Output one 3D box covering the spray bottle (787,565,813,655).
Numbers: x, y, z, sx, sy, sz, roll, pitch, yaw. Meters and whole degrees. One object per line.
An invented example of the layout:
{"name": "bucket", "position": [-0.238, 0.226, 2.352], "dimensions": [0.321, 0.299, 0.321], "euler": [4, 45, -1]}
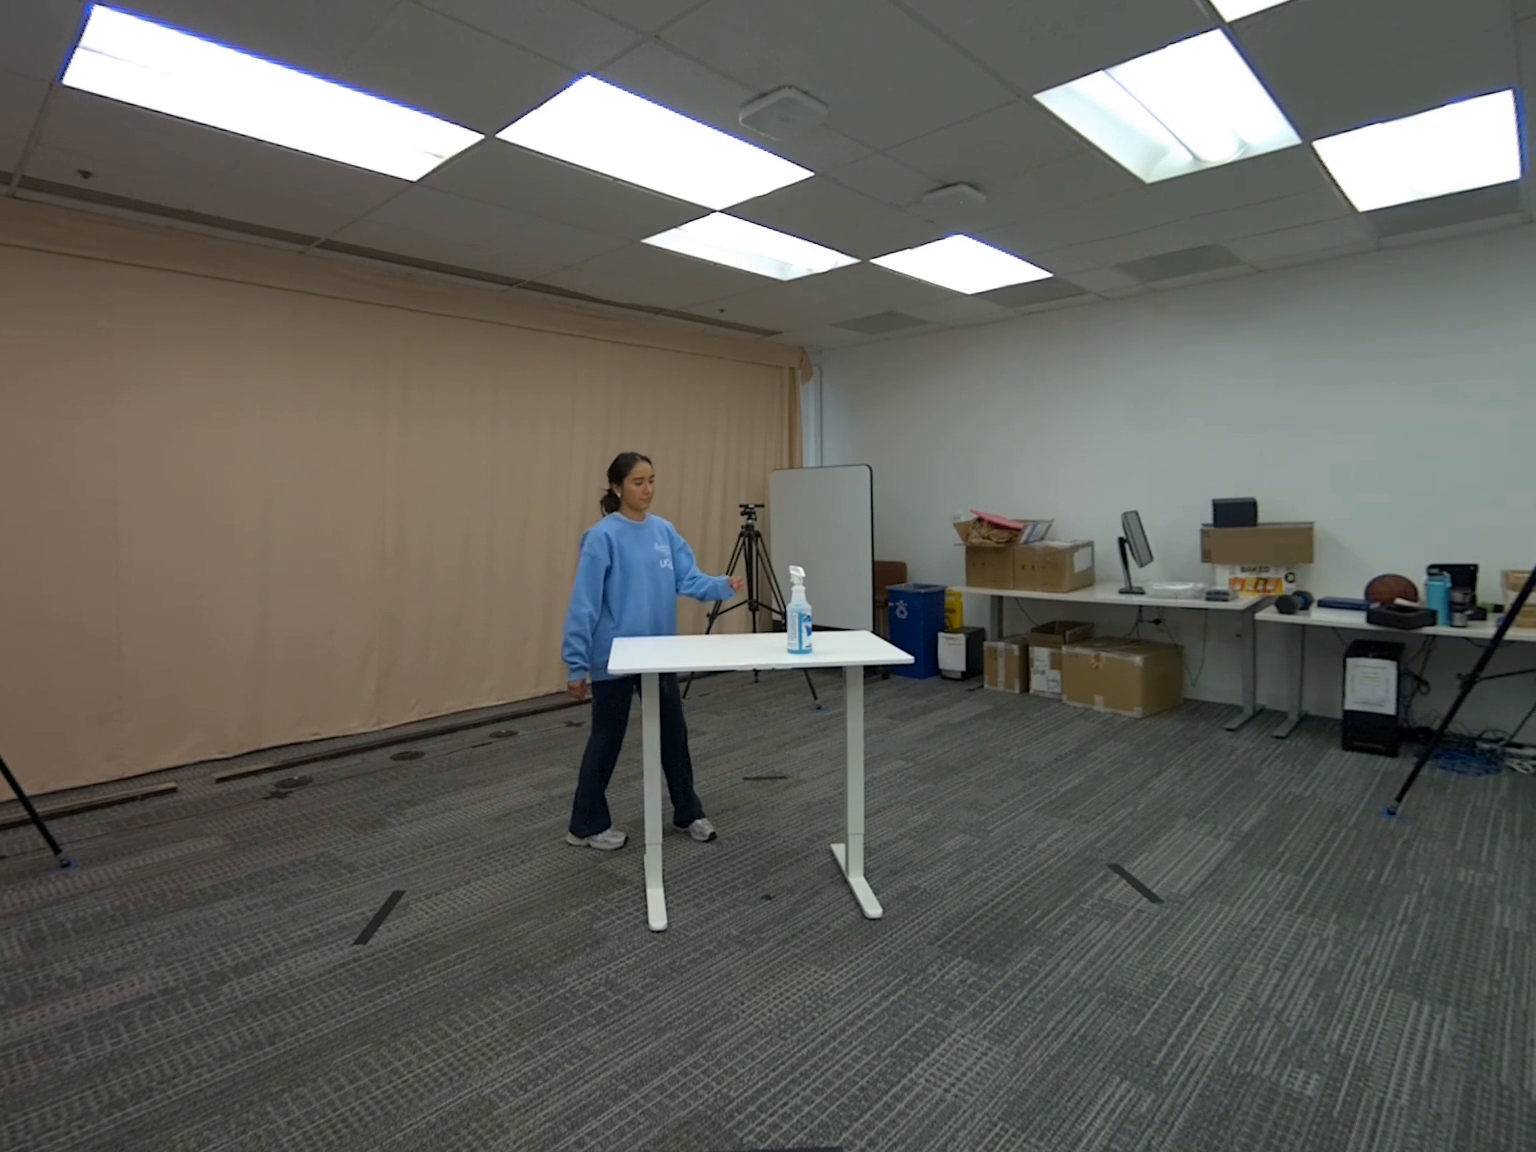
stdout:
{"name": "spray bottle", "position": [0.112, 0.119, 2.904], "dimensions": [0.087, 0.297, 0.090], "euler": [-1, 3, 1]}
